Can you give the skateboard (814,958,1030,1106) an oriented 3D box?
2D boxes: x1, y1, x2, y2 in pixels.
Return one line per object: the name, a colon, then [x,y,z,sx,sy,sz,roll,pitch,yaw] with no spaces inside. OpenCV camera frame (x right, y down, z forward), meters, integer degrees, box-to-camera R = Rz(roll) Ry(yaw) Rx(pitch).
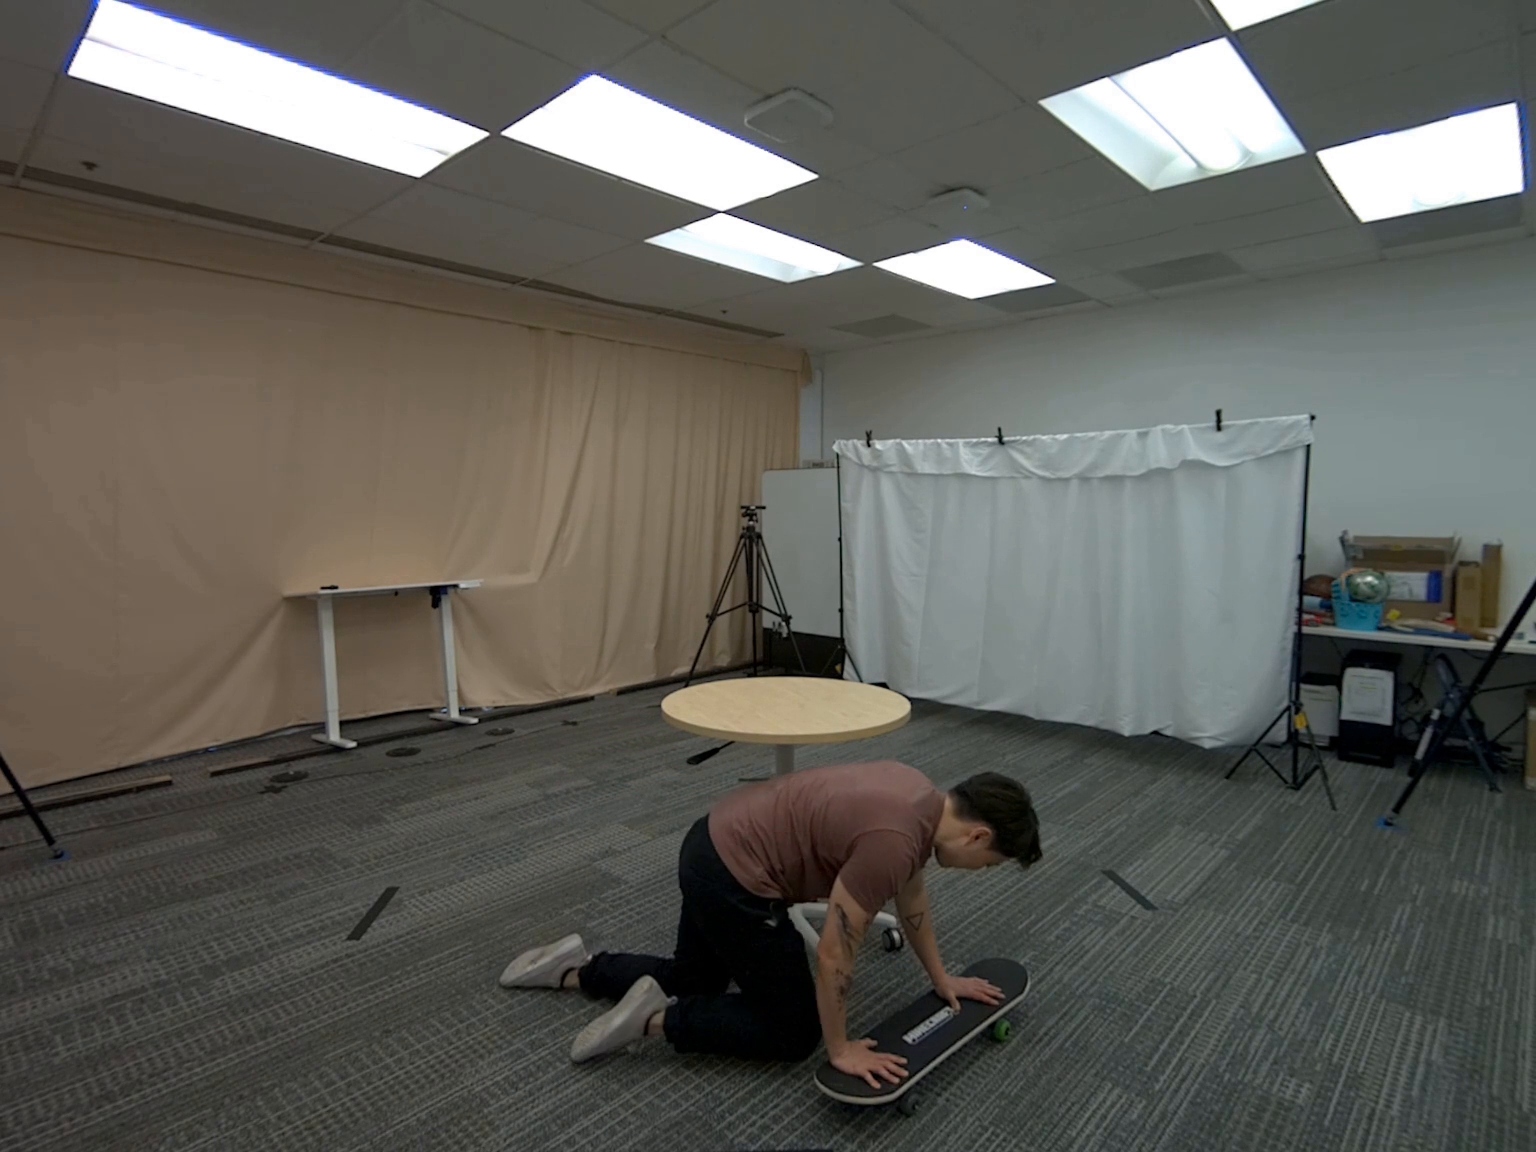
skateboard: [0.419,1.157,2.118,0.761,0.110,0.199,-4,2,-41]
